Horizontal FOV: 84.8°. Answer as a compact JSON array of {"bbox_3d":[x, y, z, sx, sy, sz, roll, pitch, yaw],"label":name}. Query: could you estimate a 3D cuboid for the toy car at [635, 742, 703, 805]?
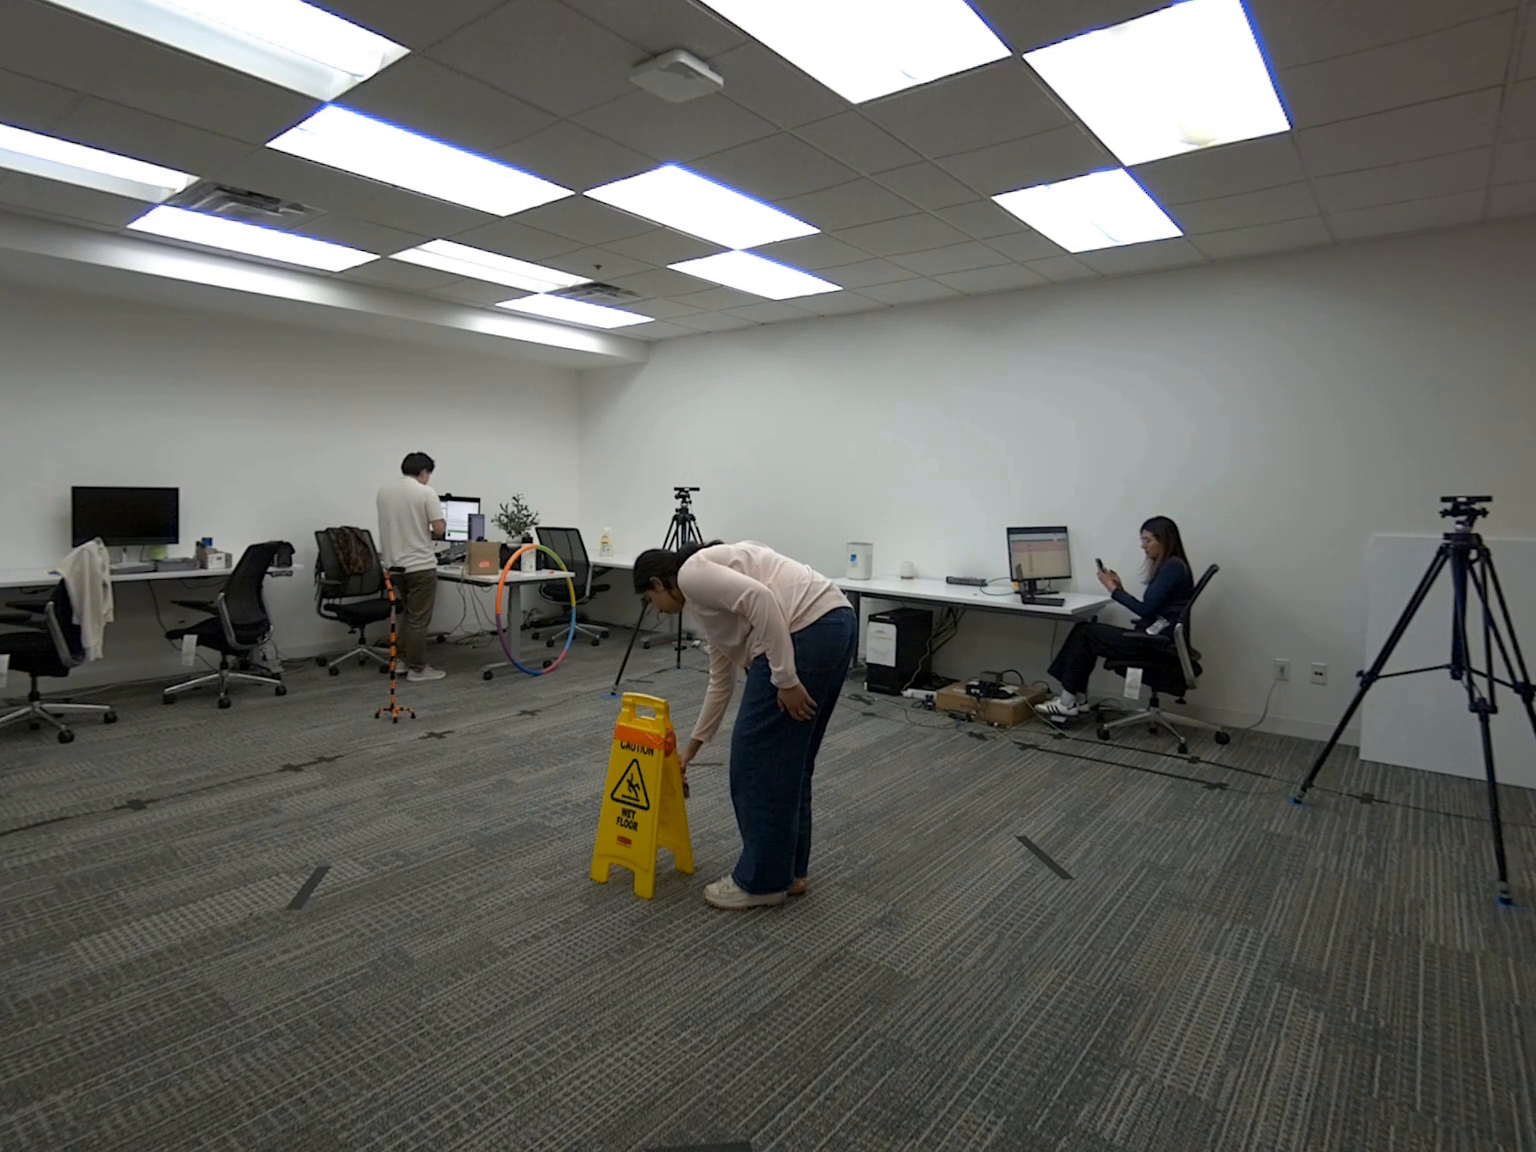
[{"bbox_3d":[-0.369,0.737,3.136,0.134,0.084,0.244,3,-41,34],"label":"toy car"}]
